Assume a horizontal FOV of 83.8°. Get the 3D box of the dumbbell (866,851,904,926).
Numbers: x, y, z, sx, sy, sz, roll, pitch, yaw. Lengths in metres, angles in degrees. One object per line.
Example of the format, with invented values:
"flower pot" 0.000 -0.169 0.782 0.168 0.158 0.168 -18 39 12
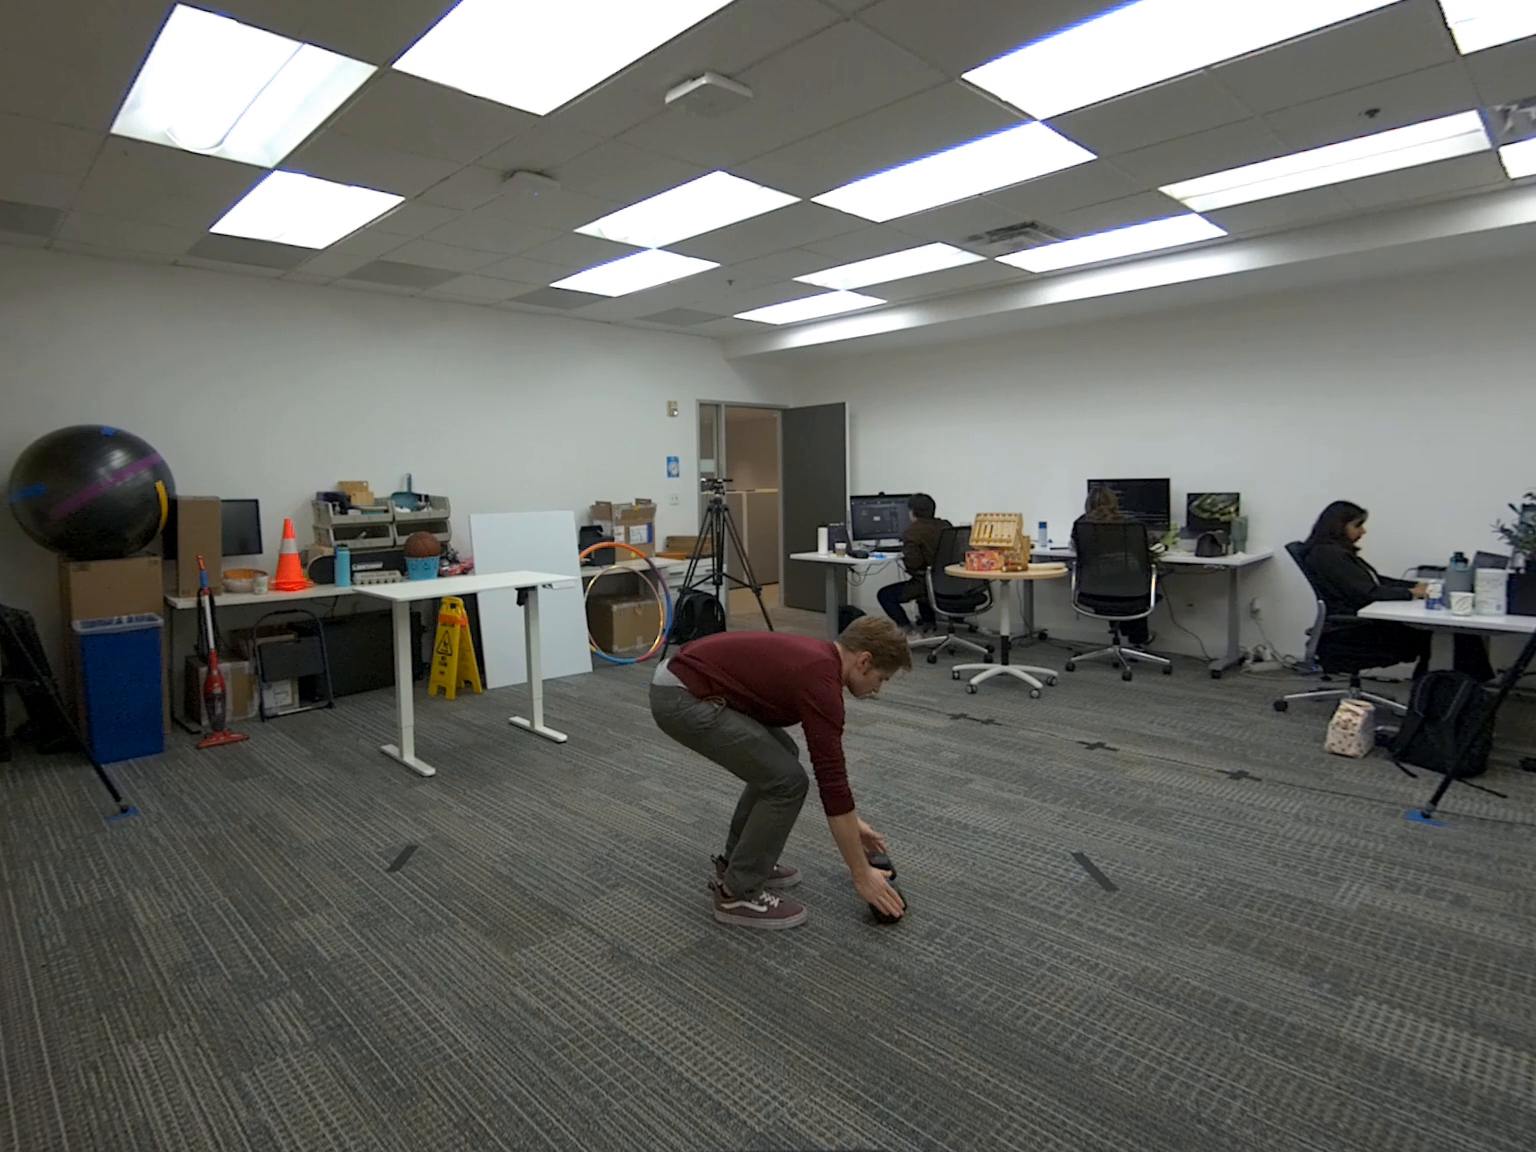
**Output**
"dumbbell" 0.381 1.027 2.806 0.123 0.108 0.294 1 5 2
